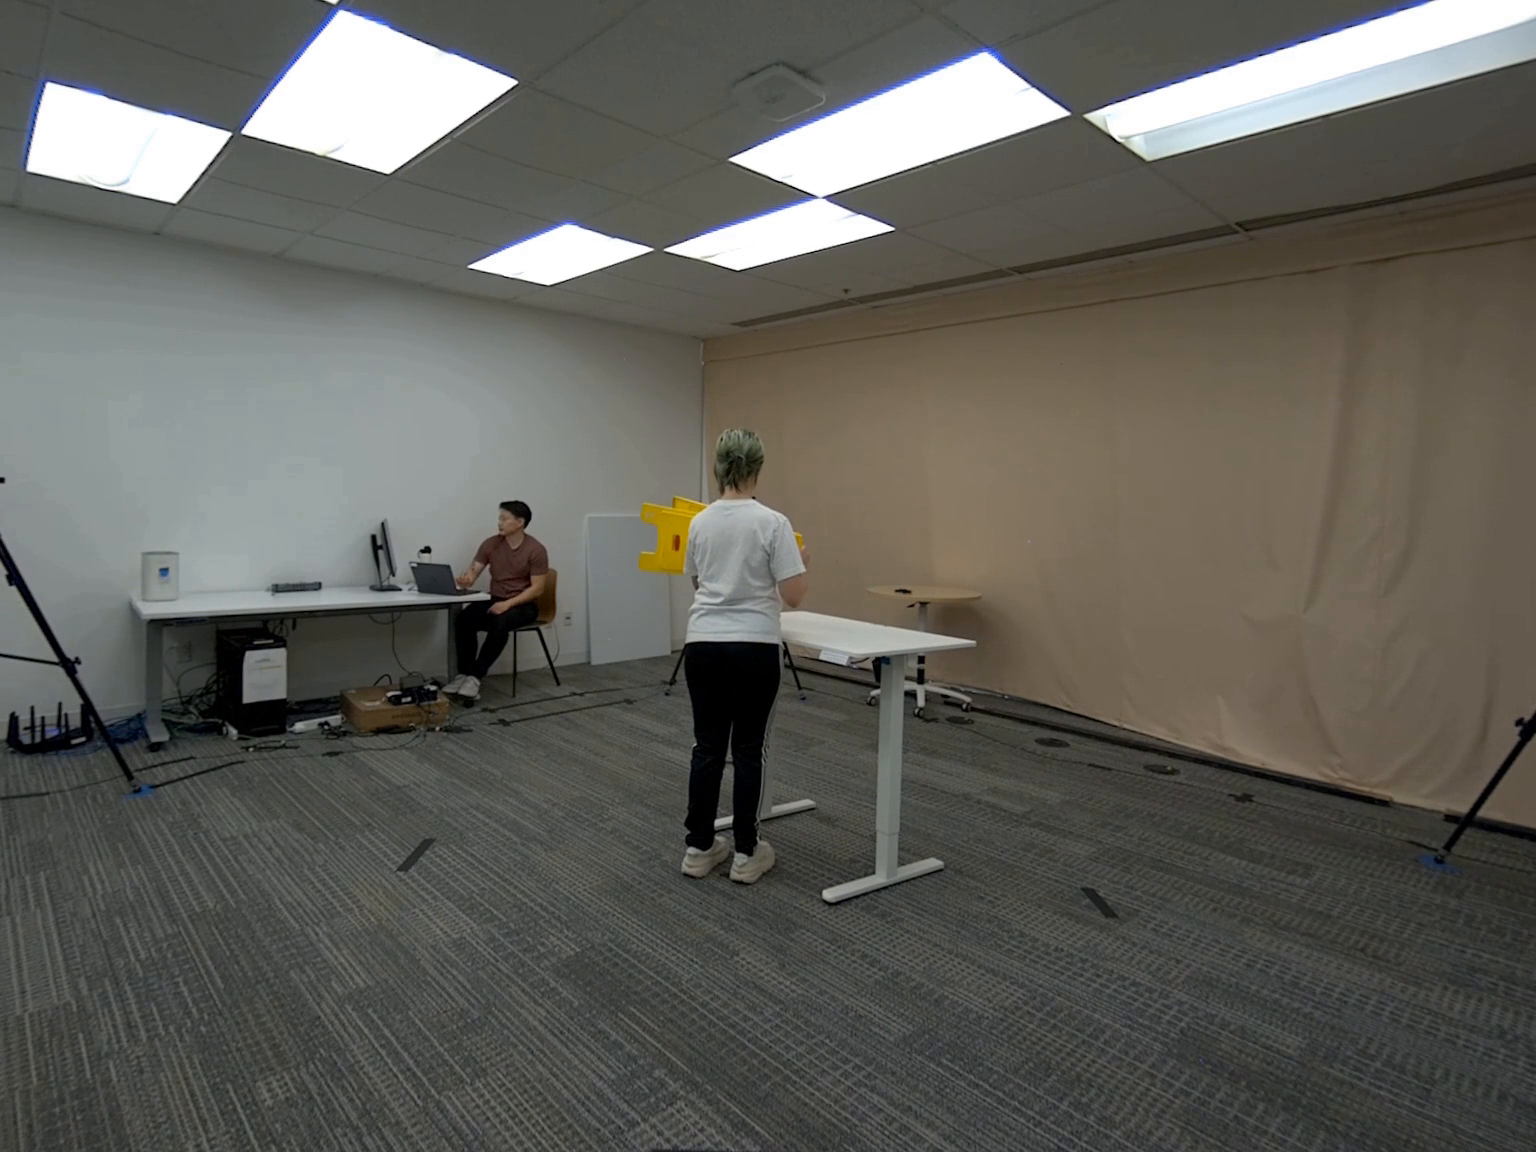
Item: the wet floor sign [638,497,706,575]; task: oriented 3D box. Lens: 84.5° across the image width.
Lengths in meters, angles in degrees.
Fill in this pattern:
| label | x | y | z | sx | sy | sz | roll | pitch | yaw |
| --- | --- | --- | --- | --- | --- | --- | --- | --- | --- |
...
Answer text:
| label | x | y | z | sx | sy | sz | roll | pitch | yaw |
| --- | --- | --- | --- | --- | --- | --- | --- | --- | --- |
| wet floor sign | -0.178 | -0.119 | 3.367 | 0.659 | 0.279 | 0.287 | 11 | 17 | 23 |
